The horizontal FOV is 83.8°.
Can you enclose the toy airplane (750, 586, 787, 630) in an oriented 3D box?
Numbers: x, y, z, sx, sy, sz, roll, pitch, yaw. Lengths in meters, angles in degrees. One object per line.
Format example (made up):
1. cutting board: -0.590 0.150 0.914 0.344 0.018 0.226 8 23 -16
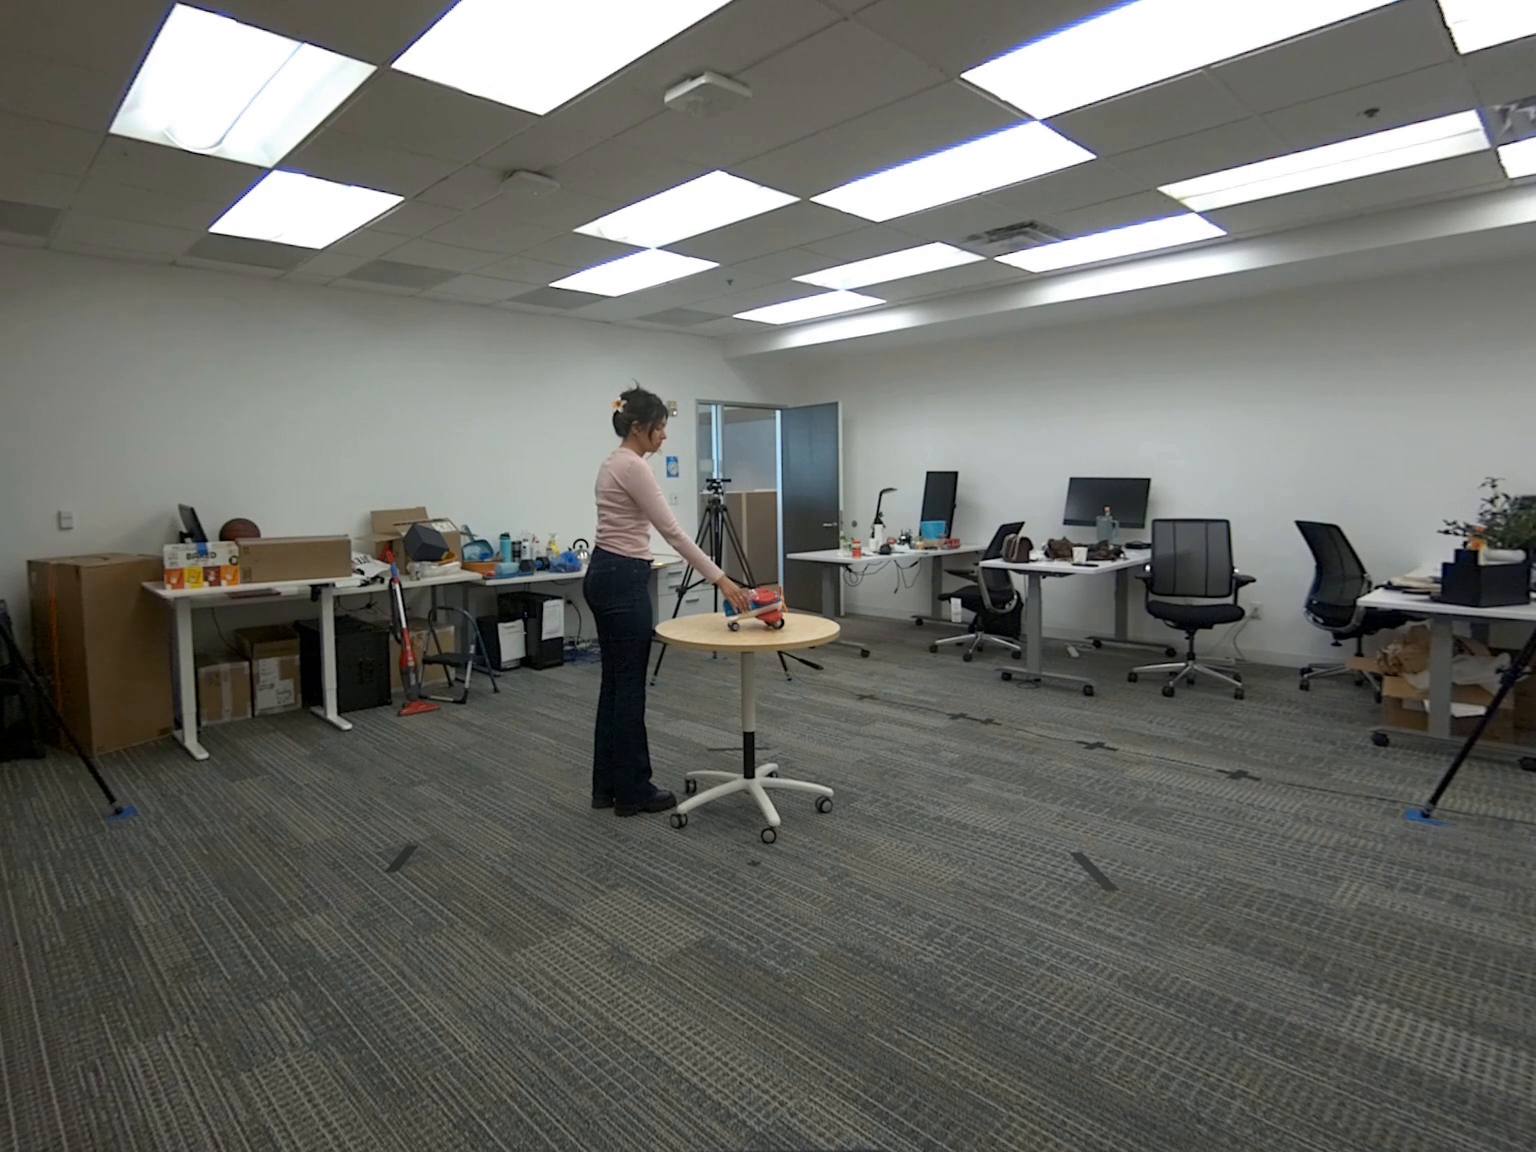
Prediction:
1. toy airplane: -0.052 0.141 3.476 0.252 0.156 0.259 -6 8 -44
